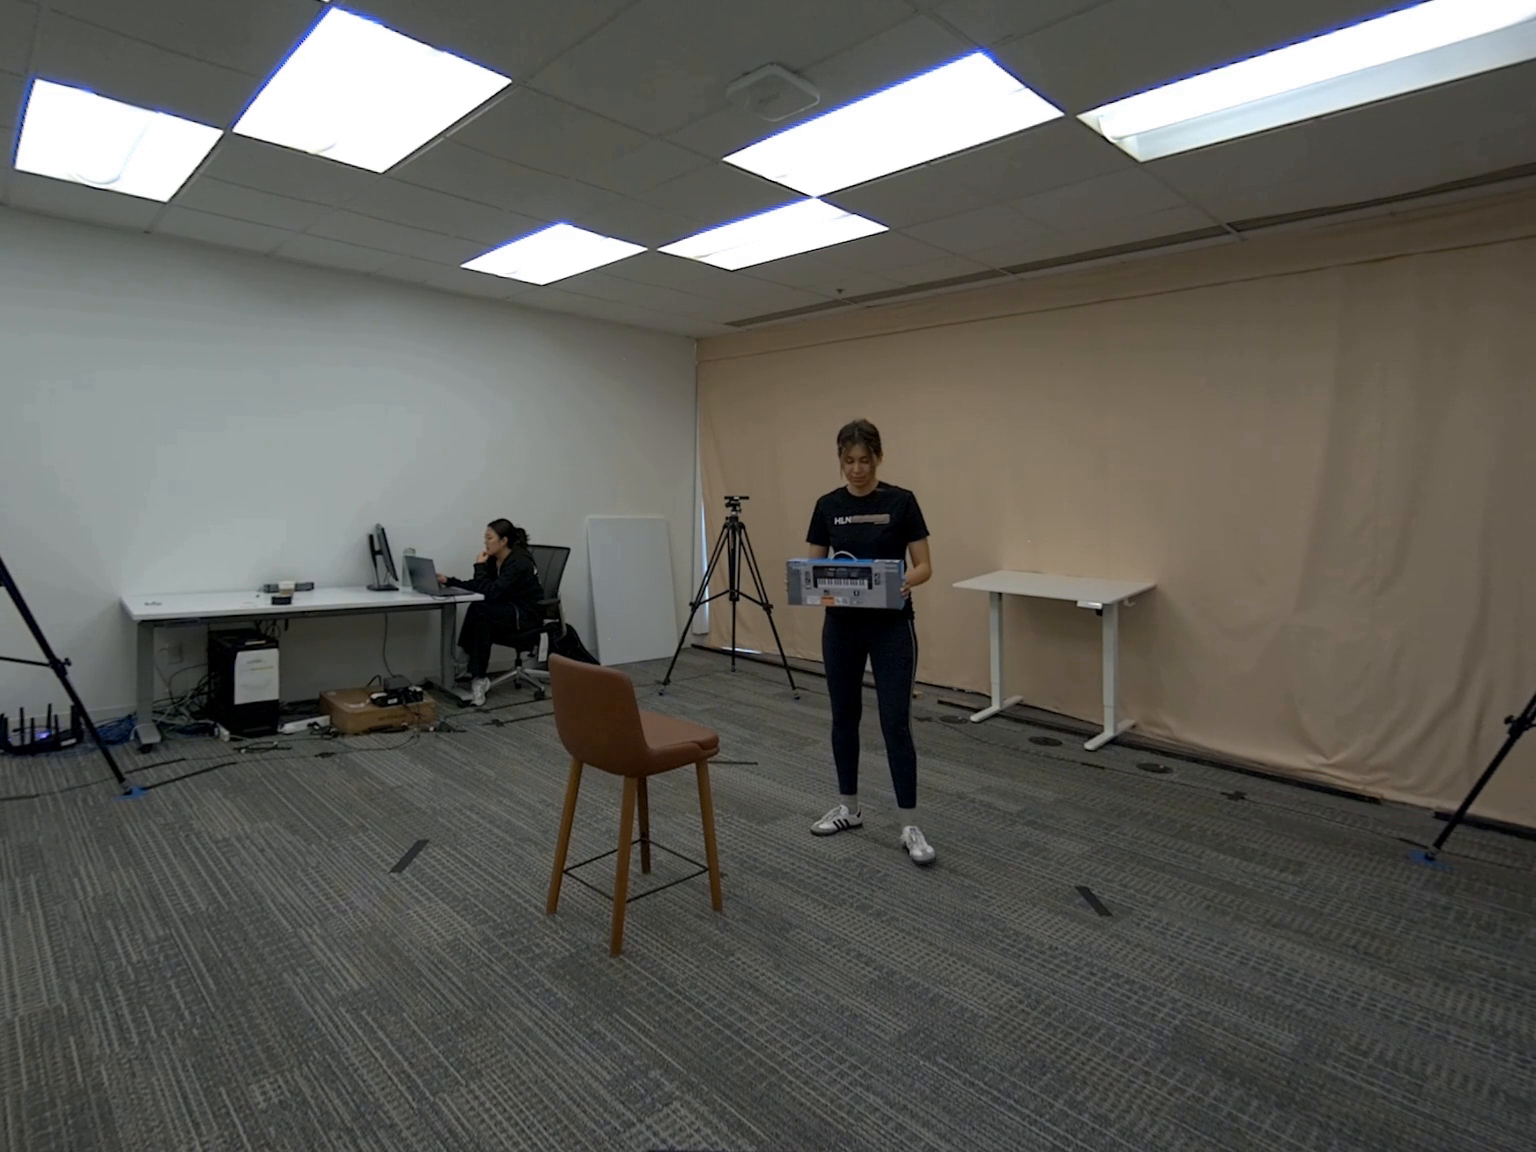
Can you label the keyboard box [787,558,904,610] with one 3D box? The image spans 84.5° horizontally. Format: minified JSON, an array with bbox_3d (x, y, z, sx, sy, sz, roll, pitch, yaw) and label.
[{"bbox_3d":[0.276,0.029,3.138,0.445,0.175,0.058,2,8,24],"label":"keyboard box"}]
